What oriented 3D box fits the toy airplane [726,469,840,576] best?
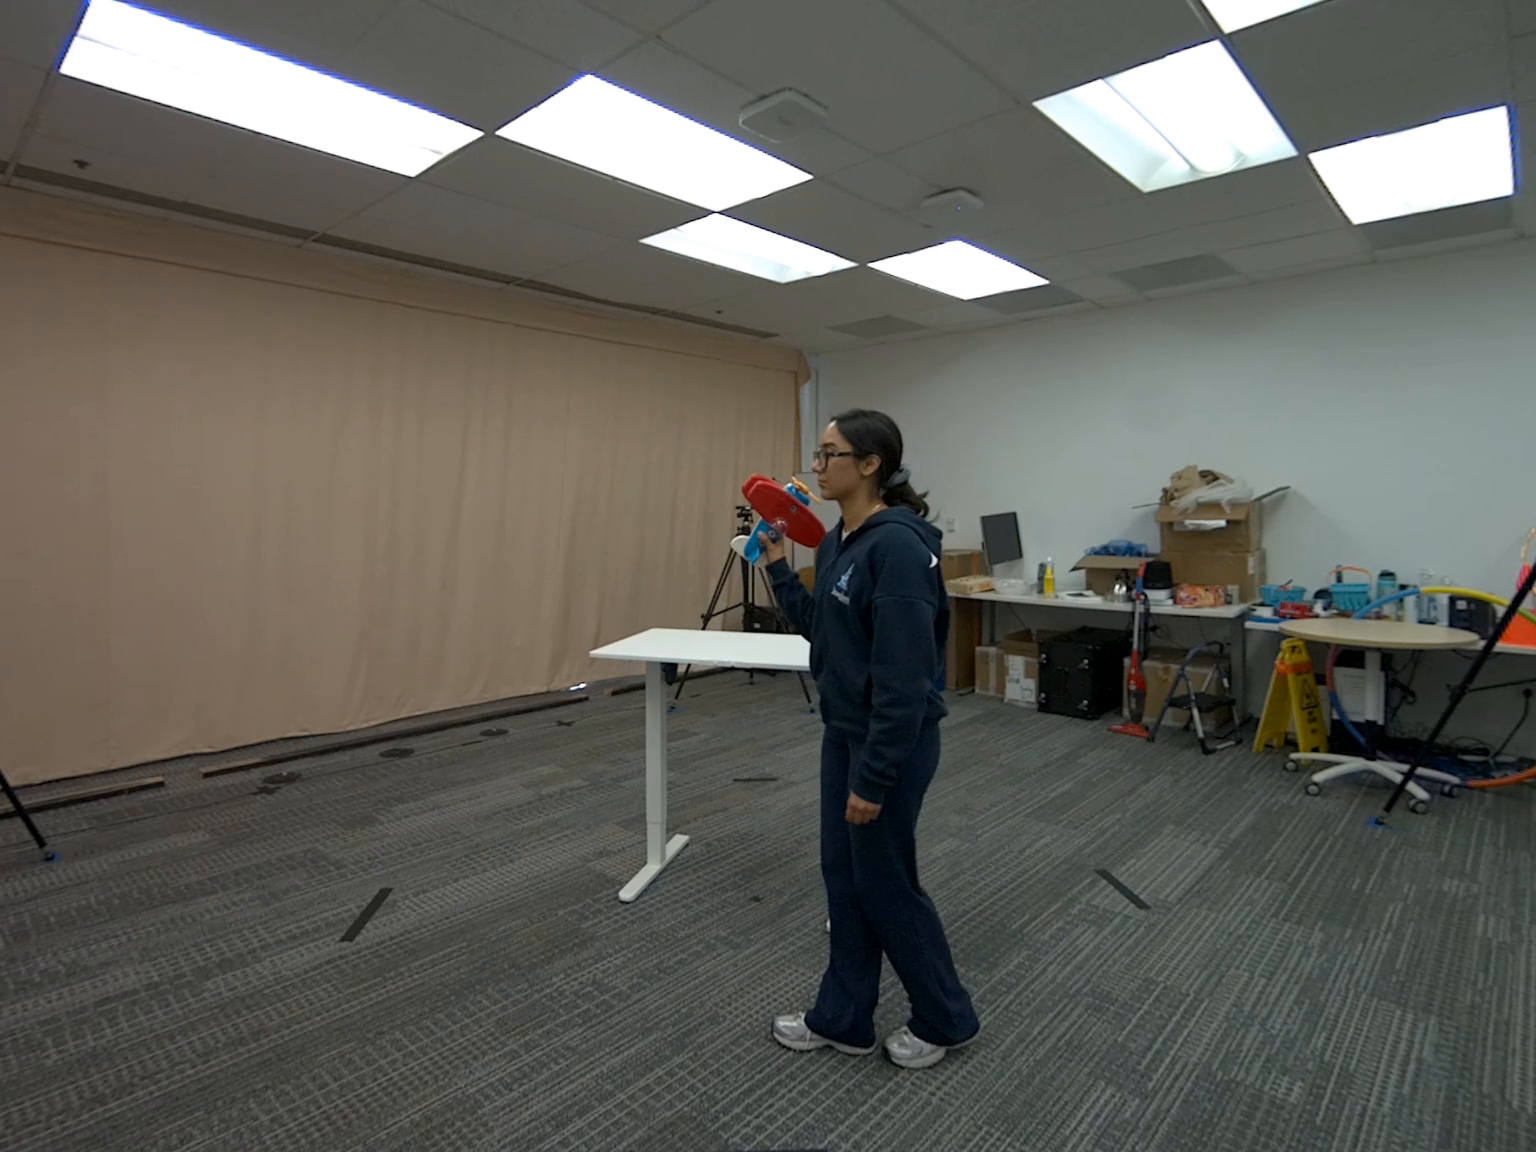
[{"bbox_3d":[0.043,-0.149,2.339,0.246,0.258,0.160,5,5,-19],"label":"toy airplane"}]
